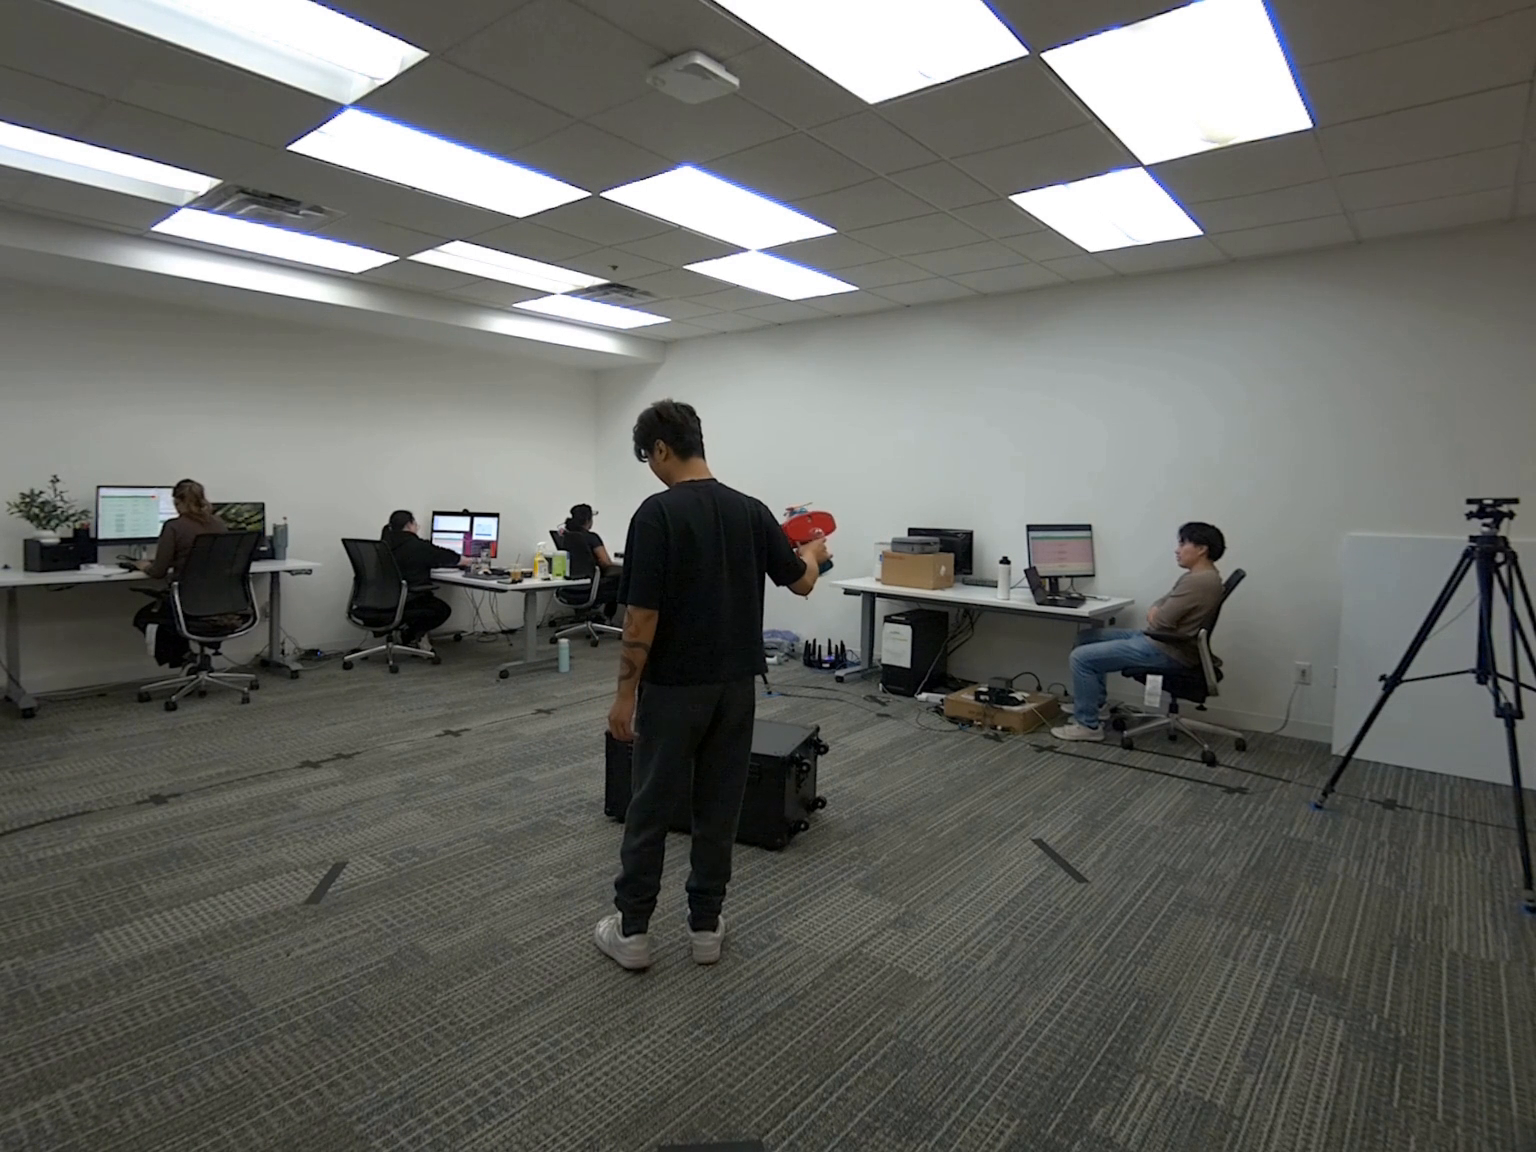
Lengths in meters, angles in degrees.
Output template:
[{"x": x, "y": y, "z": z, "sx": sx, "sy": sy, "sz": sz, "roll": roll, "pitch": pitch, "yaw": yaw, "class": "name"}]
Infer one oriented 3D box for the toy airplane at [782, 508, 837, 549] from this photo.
[{"x": 0.128, "y": -0.123, "z": 2.966, "sx": 0.156, "sy": 0.259, "sz": 0.252, "roll": -50, "pitch": 3, "yaw": 42, "class": "toy airplane"}]
